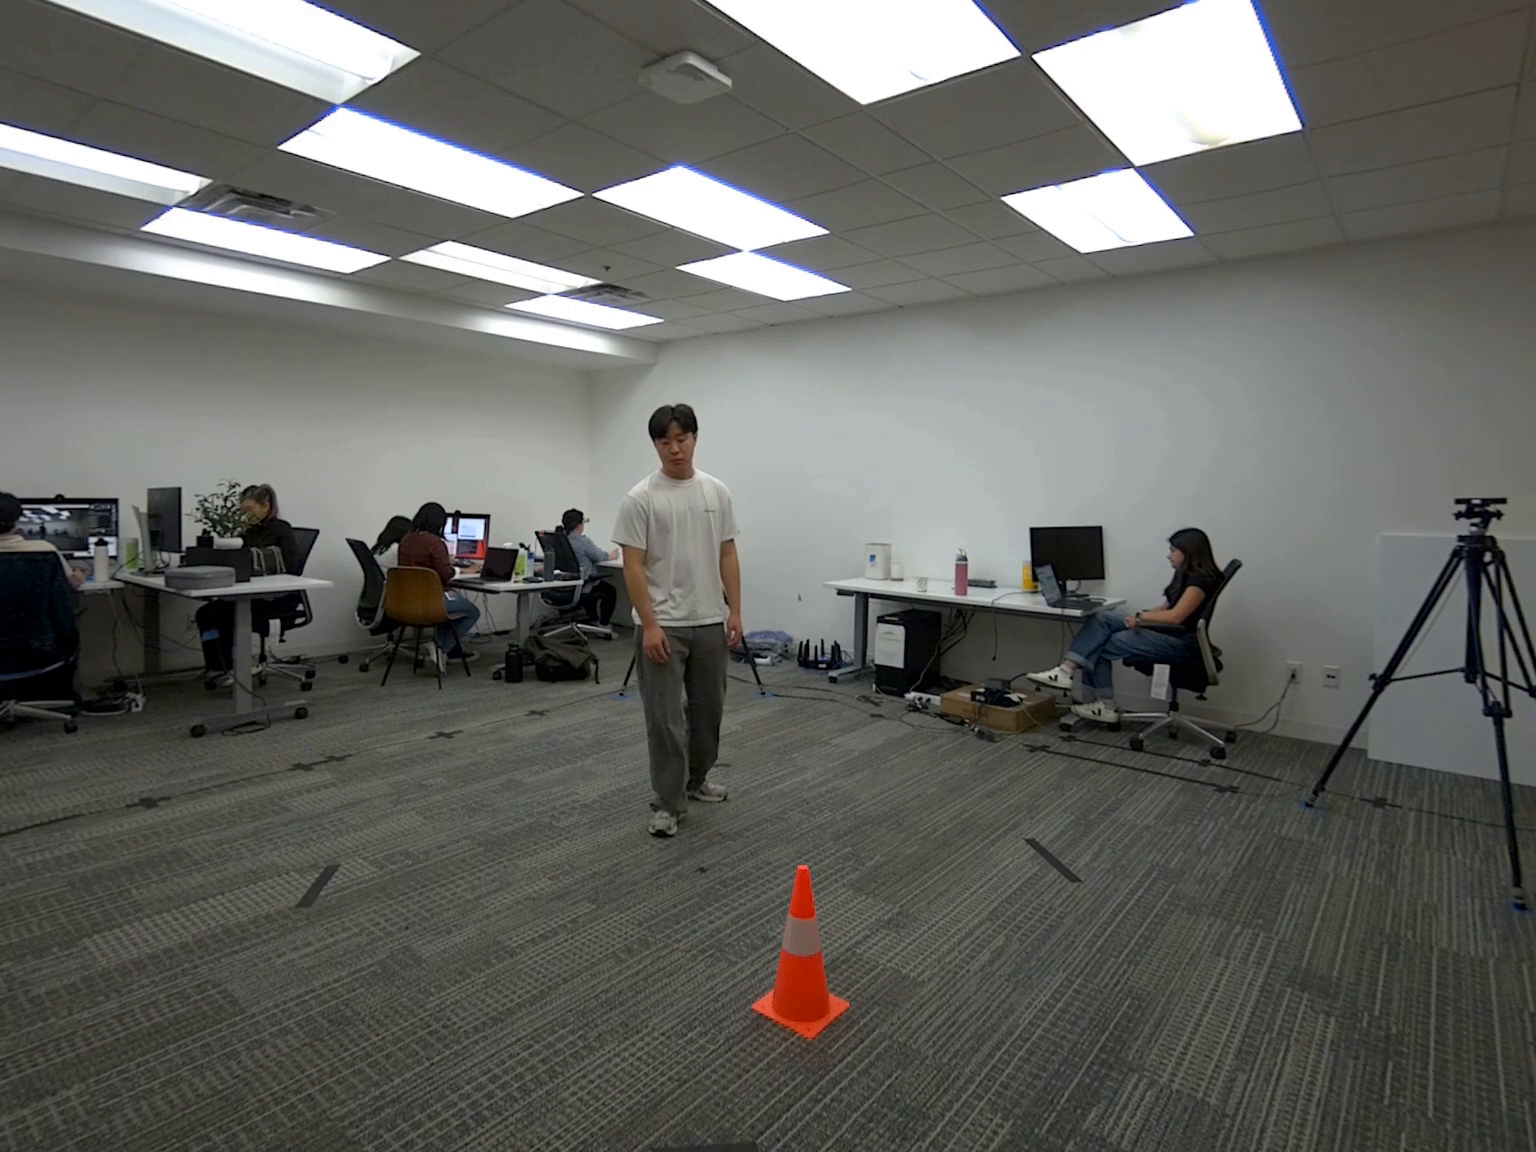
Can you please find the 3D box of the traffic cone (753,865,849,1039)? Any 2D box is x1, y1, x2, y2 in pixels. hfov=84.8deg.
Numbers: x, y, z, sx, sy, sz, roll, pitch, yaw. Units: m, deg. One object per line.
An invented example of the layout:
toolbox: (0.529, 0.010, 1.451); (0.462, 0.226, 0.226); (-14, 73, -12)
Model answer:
traffic cone: (0.094, 0.968, 2.282); (0.212, 0.382, 0.197); (5, 7, 44)
